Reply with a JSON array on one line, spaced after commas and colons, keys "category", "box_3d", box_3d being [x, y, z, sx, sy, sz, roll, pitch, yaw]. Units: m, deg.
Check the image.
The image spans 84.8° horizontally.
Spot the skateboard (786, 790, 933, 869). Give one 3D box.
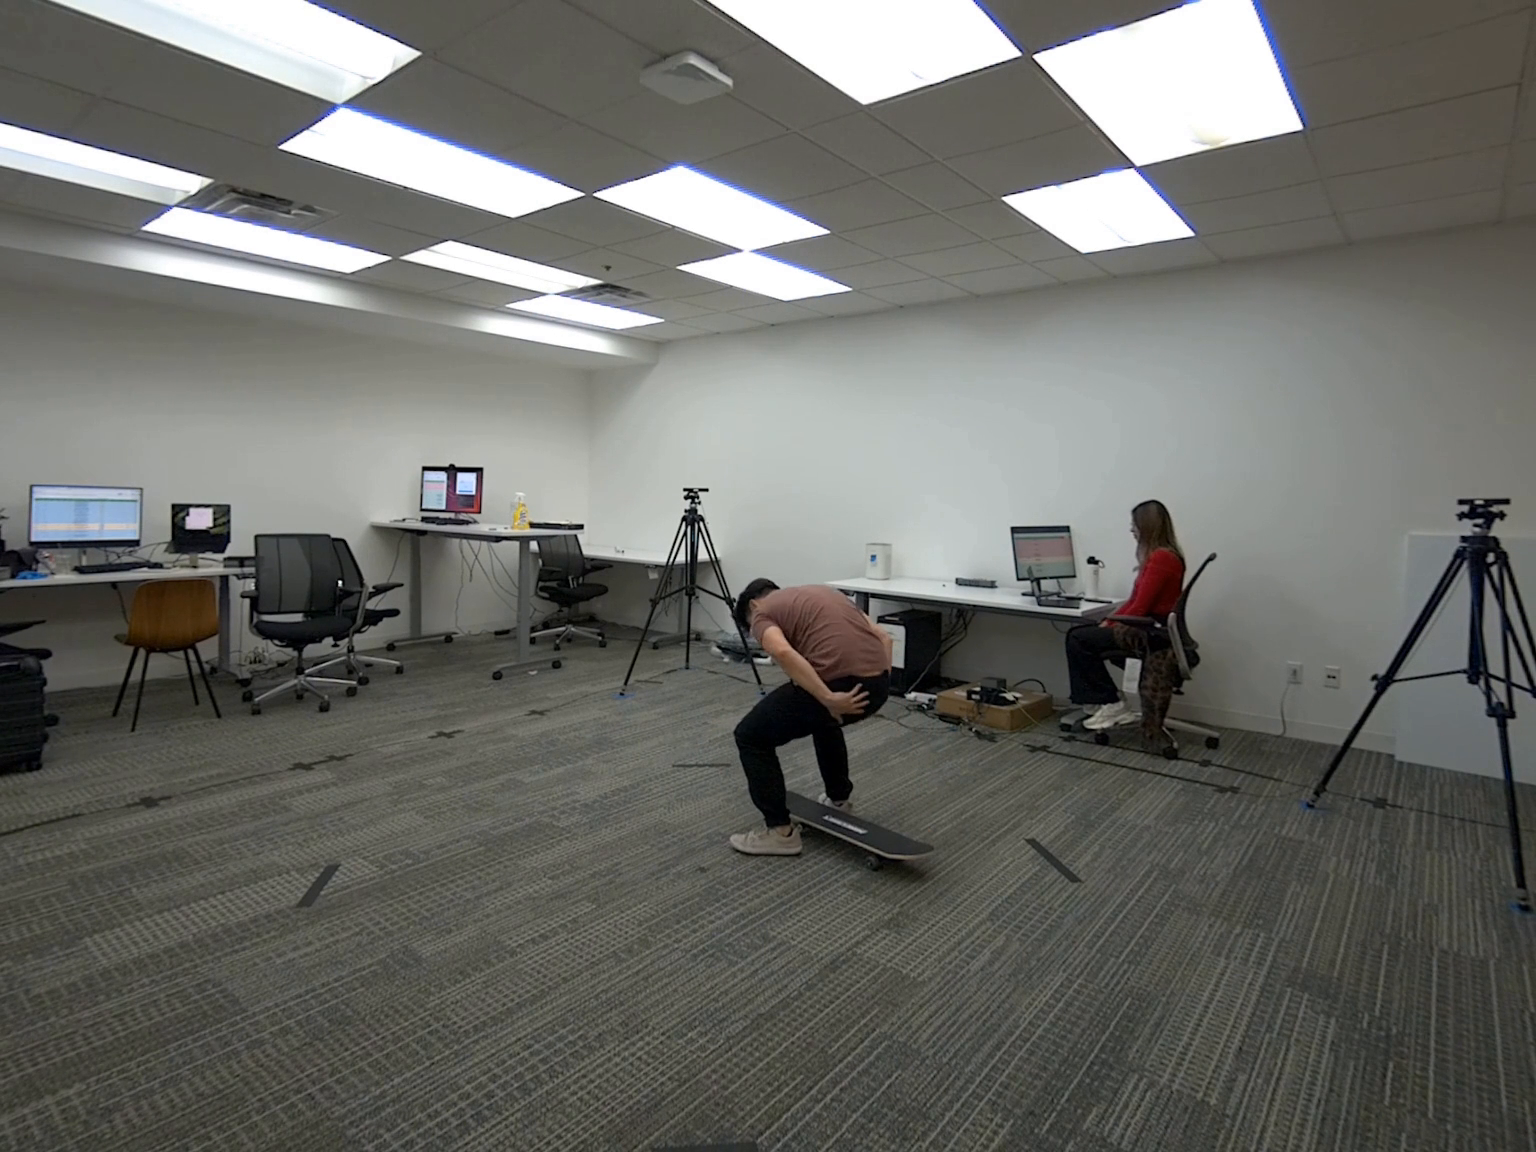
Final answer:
[{"category": "skateboard", "box_3d": [0.292, 1.004, 3.347, 0.187, 0.110, 0.813, -3, 7, -44]}]
